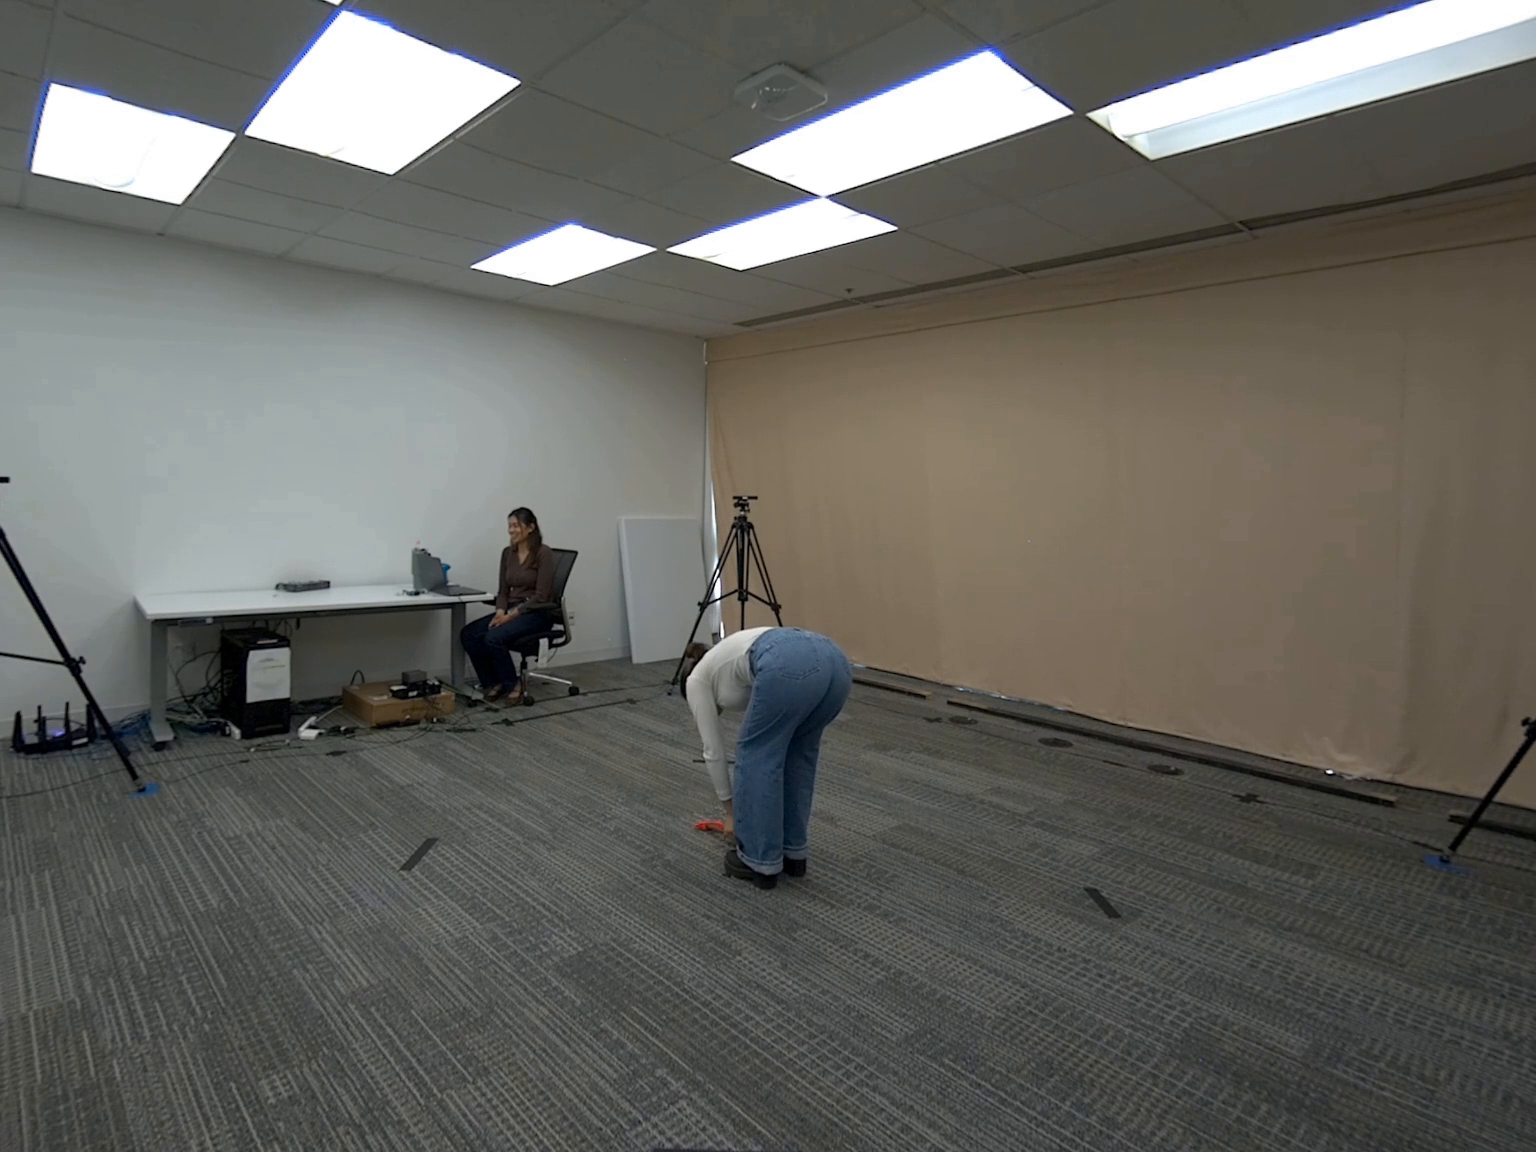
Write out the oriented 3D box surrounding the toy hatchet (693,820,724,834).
[{"bbox_3d":[-0.187,1.043,3.471,0.276,0.030,0.128,0,-4,43],"label":"toy hatchet"}]
